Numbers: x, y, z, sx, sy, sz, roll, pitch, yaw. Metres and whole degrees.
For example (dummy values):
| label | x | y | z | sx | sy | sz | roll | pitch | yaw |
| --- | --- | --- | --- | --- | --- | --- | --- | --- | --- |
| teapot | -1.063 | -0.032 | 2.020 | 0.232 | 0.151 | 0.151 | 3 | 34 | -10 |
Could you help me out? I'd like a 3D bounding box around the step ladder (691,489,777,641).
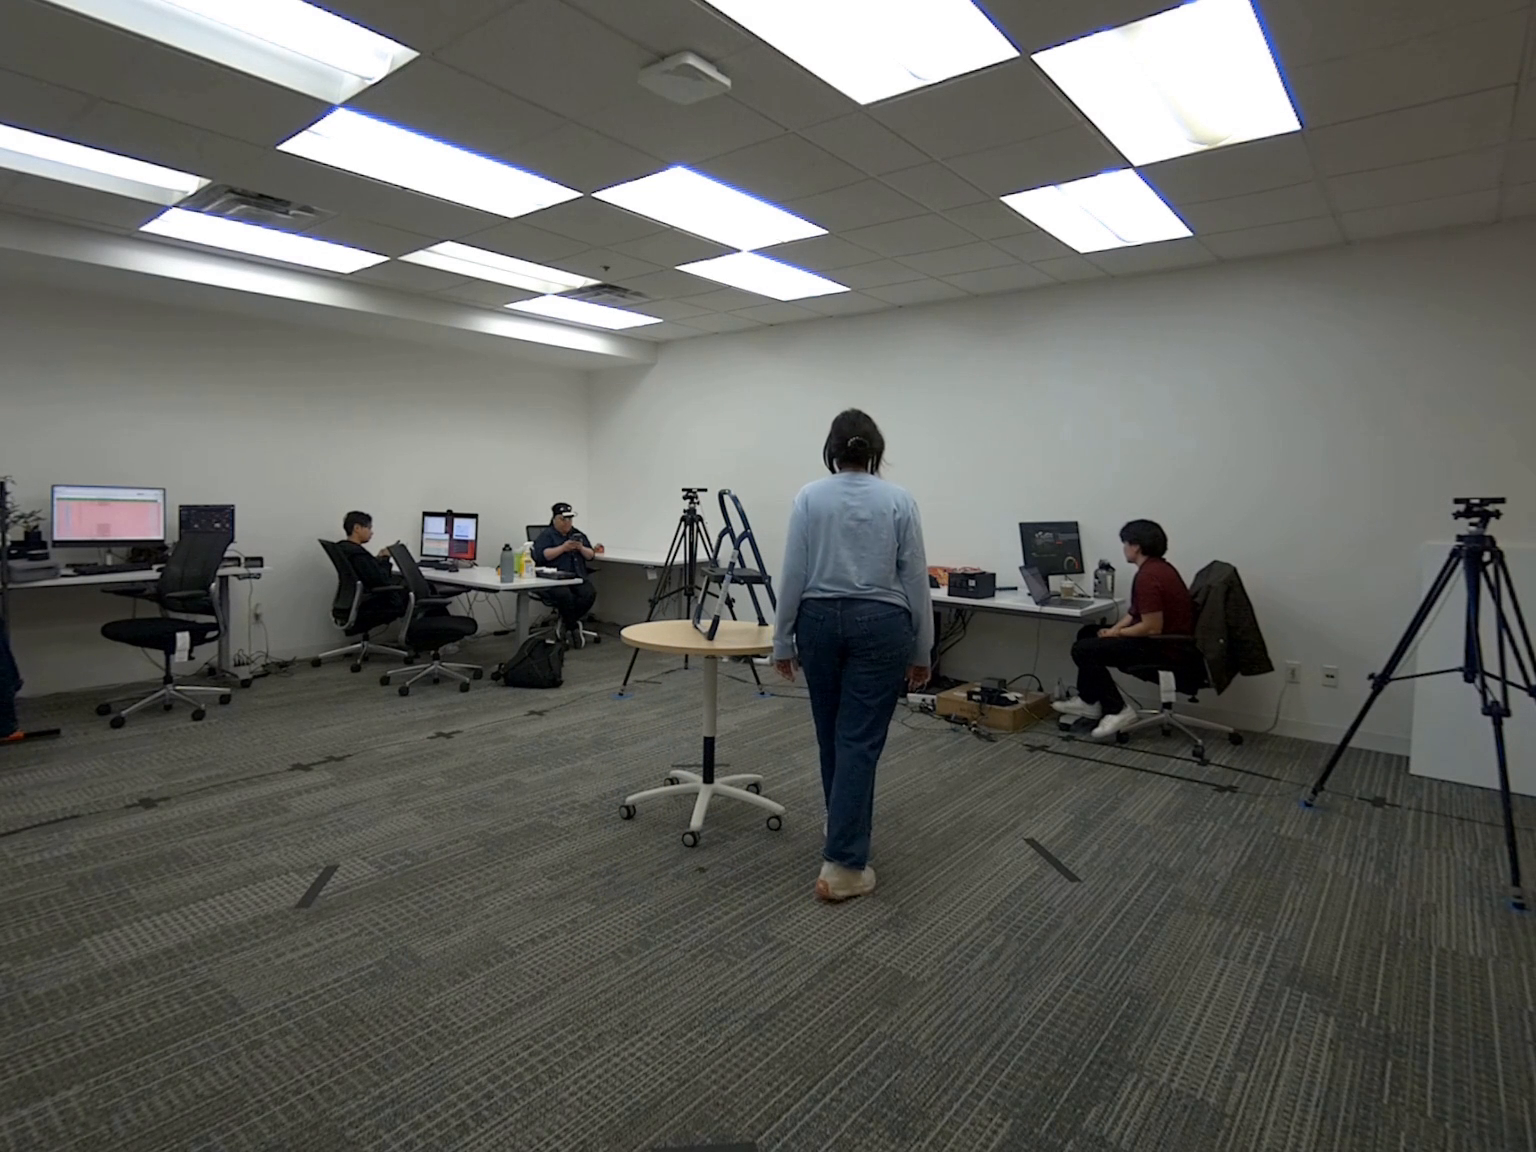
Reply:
| label | x | y | z | sx | sy | sz | roll | pitch | yaw |
| --- | --- | --- | --- | --- | --- | --- | --- | --- | --- |
| step ladder | -0.130 | -0.063 | 3.615 | 0.344 | 0.604 | 0.438 | 1 | 3 | -15 |
